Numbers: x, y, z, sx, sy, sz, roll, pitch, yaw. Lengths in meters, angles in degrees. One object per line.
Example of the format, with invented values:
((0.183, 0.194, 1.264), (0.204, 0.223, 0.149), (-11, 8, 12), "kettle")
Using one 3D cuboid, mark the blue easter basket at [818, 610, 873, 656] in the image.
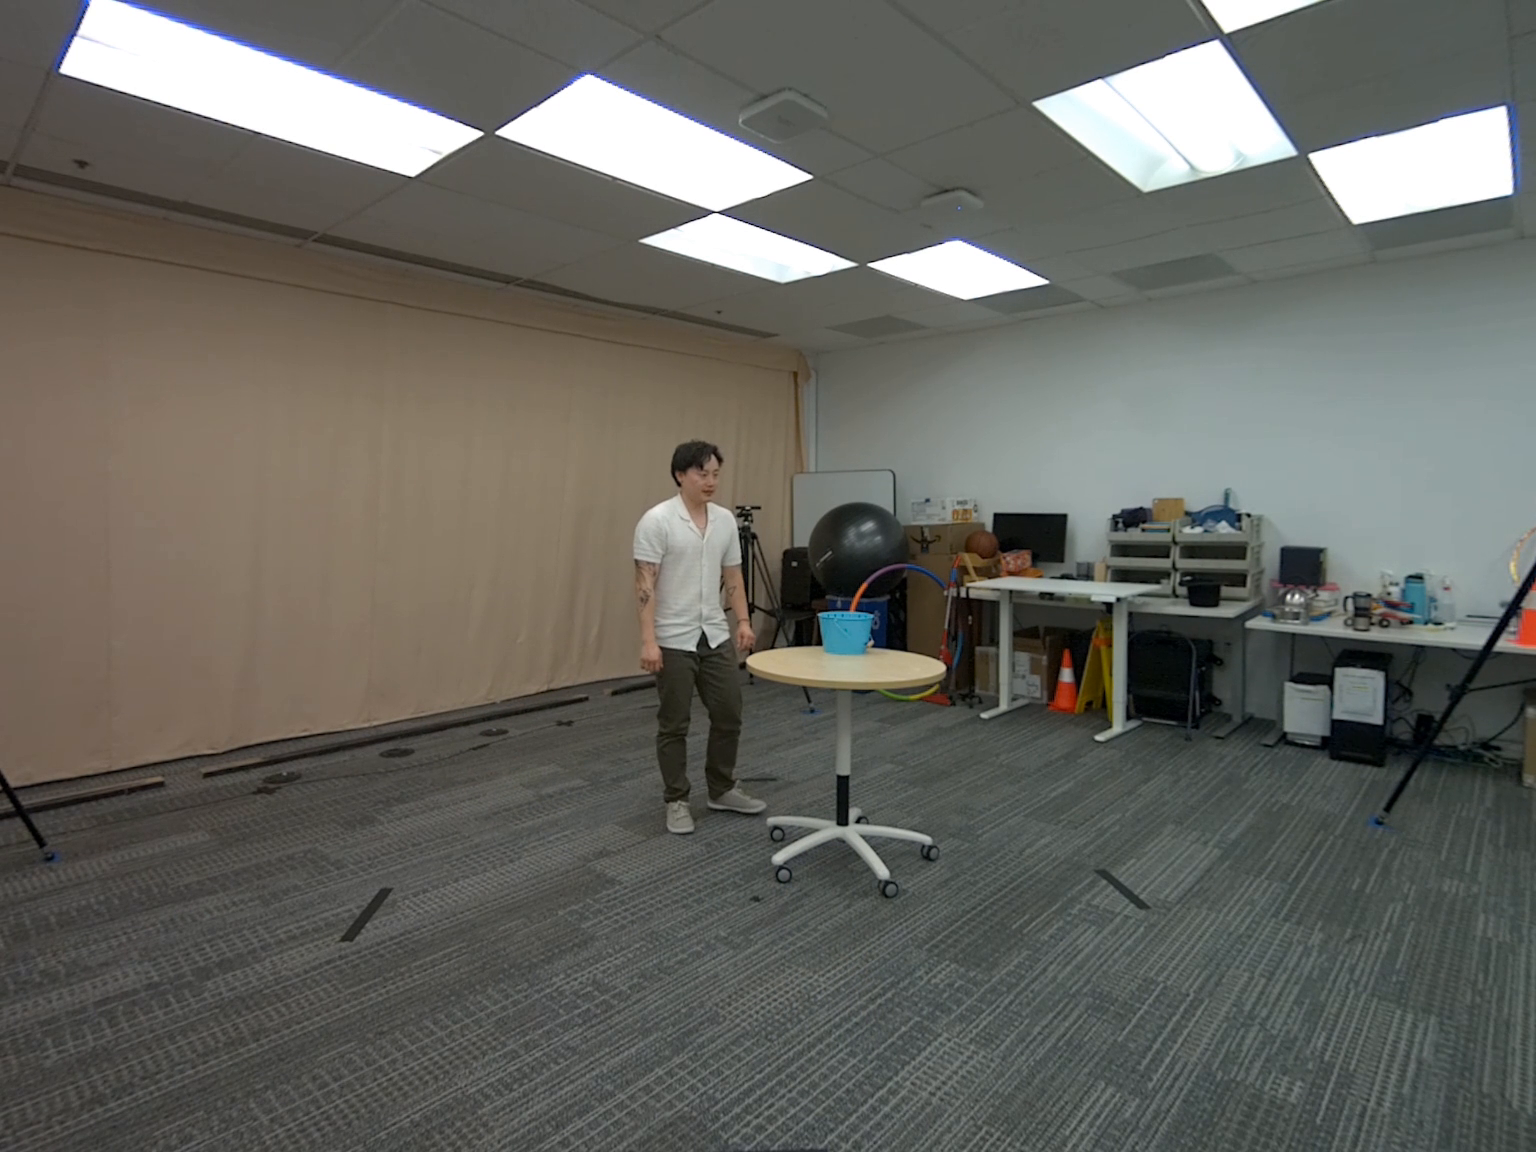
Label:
((0.331, 0.242, 3.535), (0.243, 0.155, 0.244), (-1, 3, -2), "blue easter basket")
